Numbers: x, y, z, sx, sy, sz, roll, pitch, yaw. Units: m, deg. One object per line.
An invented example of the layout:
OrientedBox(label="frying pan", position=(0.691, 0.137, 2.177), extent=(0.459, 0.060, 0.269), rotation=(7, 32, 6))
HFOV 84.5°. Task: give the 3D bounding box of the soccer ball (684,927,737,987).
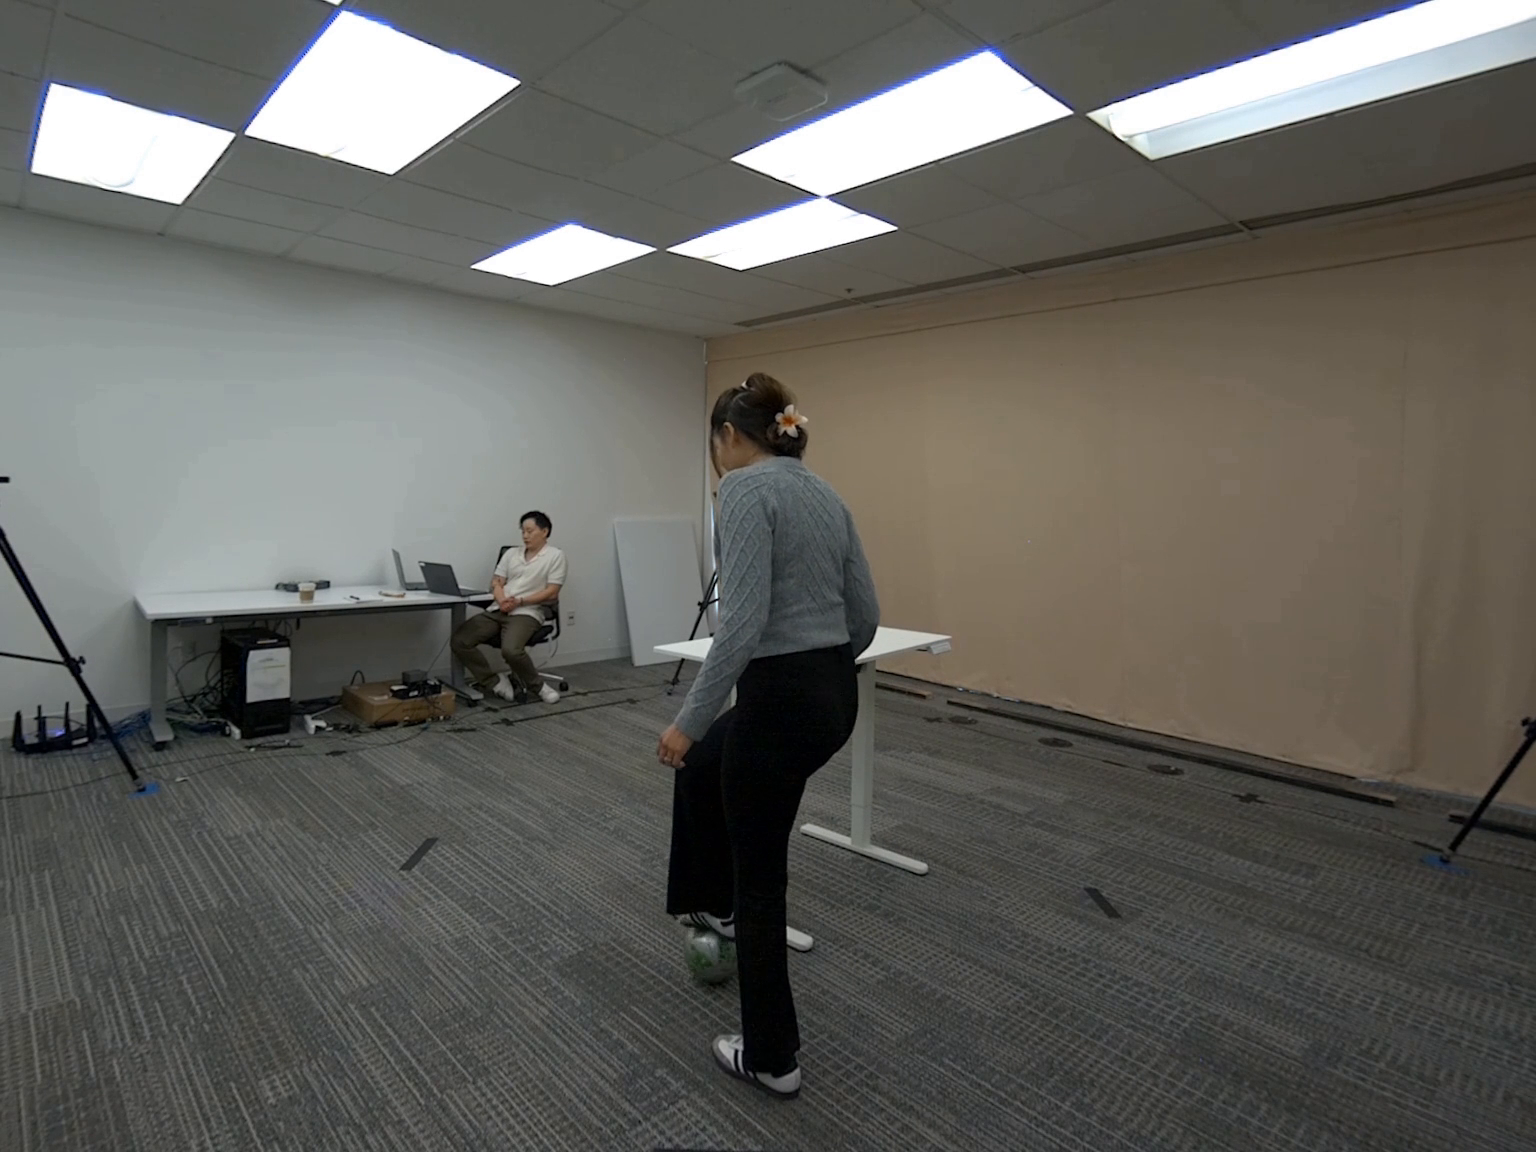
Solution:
OrientedBox(label="soccer ball", position=(-0.144, 1.076, 2.417), extent=(0.187, 0.187, 0.188), rotation=(1, 4, -1))
